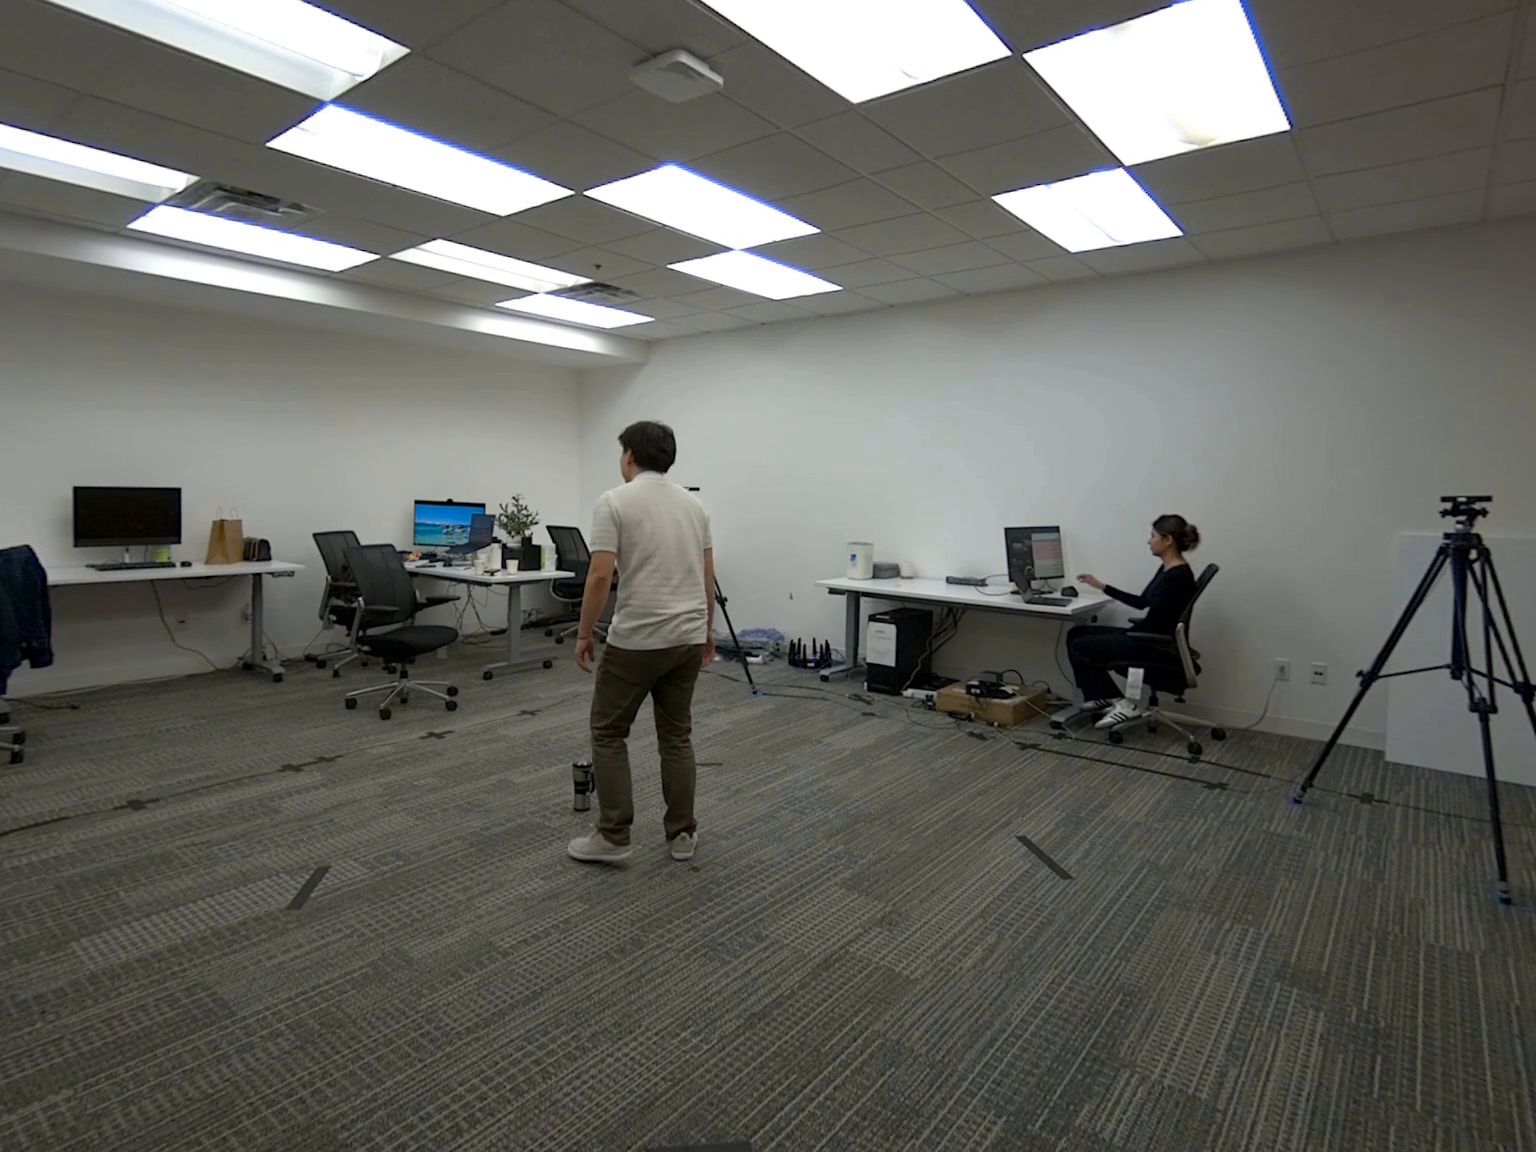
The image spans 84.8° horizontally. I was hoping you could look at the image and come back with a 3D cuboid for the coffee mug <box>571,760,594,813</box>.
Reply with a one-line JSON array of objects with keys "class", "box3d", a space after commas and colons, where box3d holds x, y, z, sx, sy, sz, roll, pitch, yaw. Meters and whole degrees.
[{"class": "coffee mug", "box3d": [-0.809, 0.908, 3.652, 0.086, 0.203, 0.124, 2, -3, -23]}]
